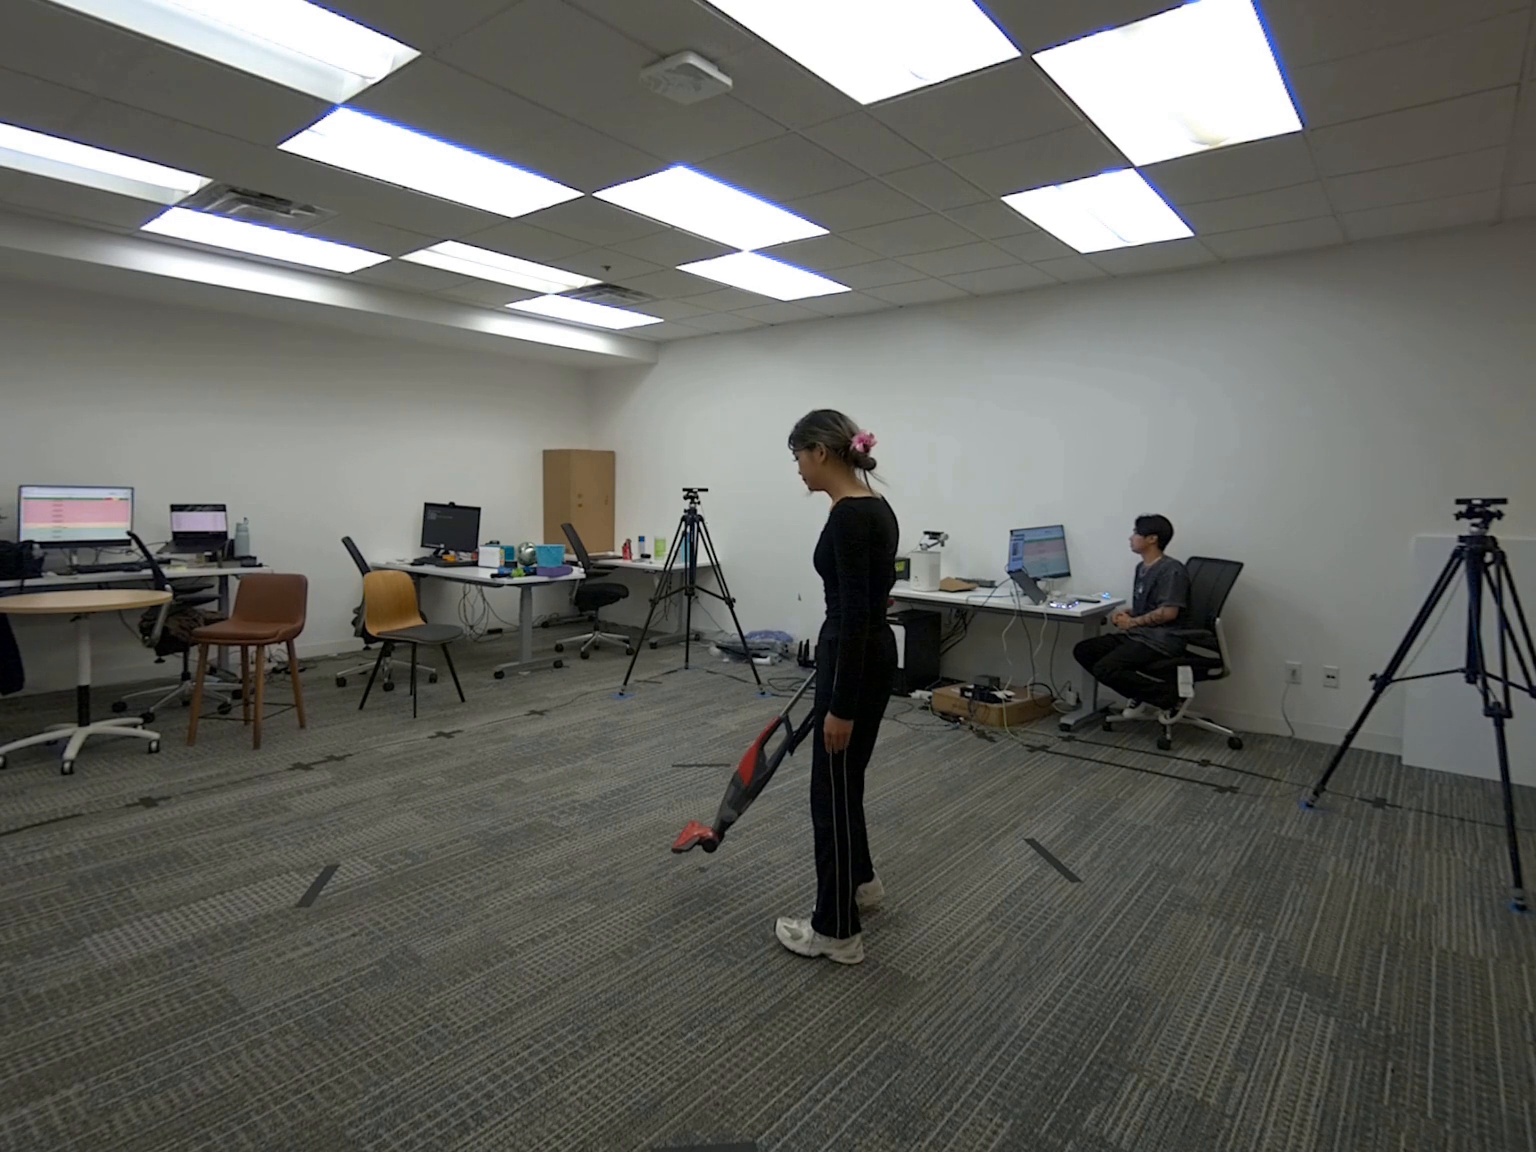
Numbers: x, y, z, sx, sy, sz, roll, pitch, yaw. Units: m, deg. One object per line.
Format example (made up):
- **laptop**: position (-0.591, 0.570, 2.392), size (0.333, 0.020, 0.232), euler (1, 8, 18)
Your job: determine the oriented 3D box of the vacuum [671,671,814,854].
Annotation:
- **vacuum**: position (0.061, 0.496, 2.835), size (0.146, 1.048, 0.249), euler (37, 8, 8)
